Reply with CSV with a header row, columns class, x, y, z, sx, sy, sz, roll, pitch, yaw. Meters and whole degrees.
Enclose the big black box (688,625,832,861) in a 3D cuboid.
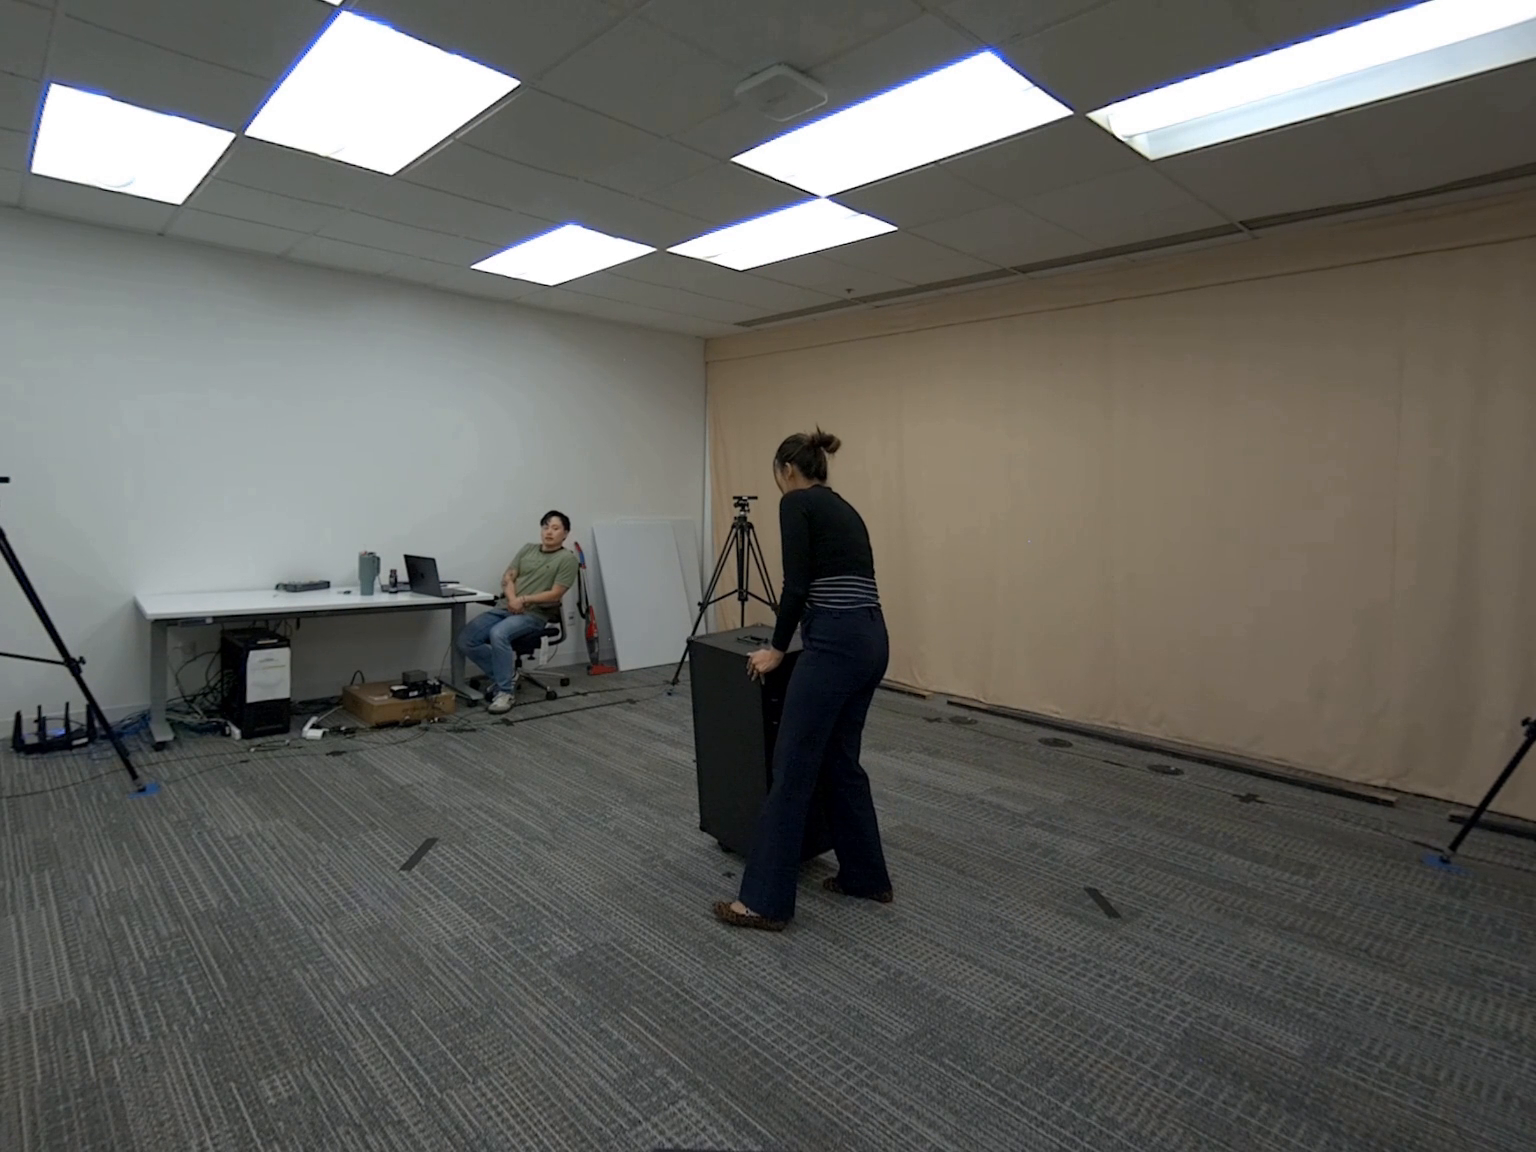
class,x,y,z,sx,sy,sz,roll,pitch,yaw
big black box,-0.033,0.606,3.226,0.388,0.858,0.534,-7,7,-35
